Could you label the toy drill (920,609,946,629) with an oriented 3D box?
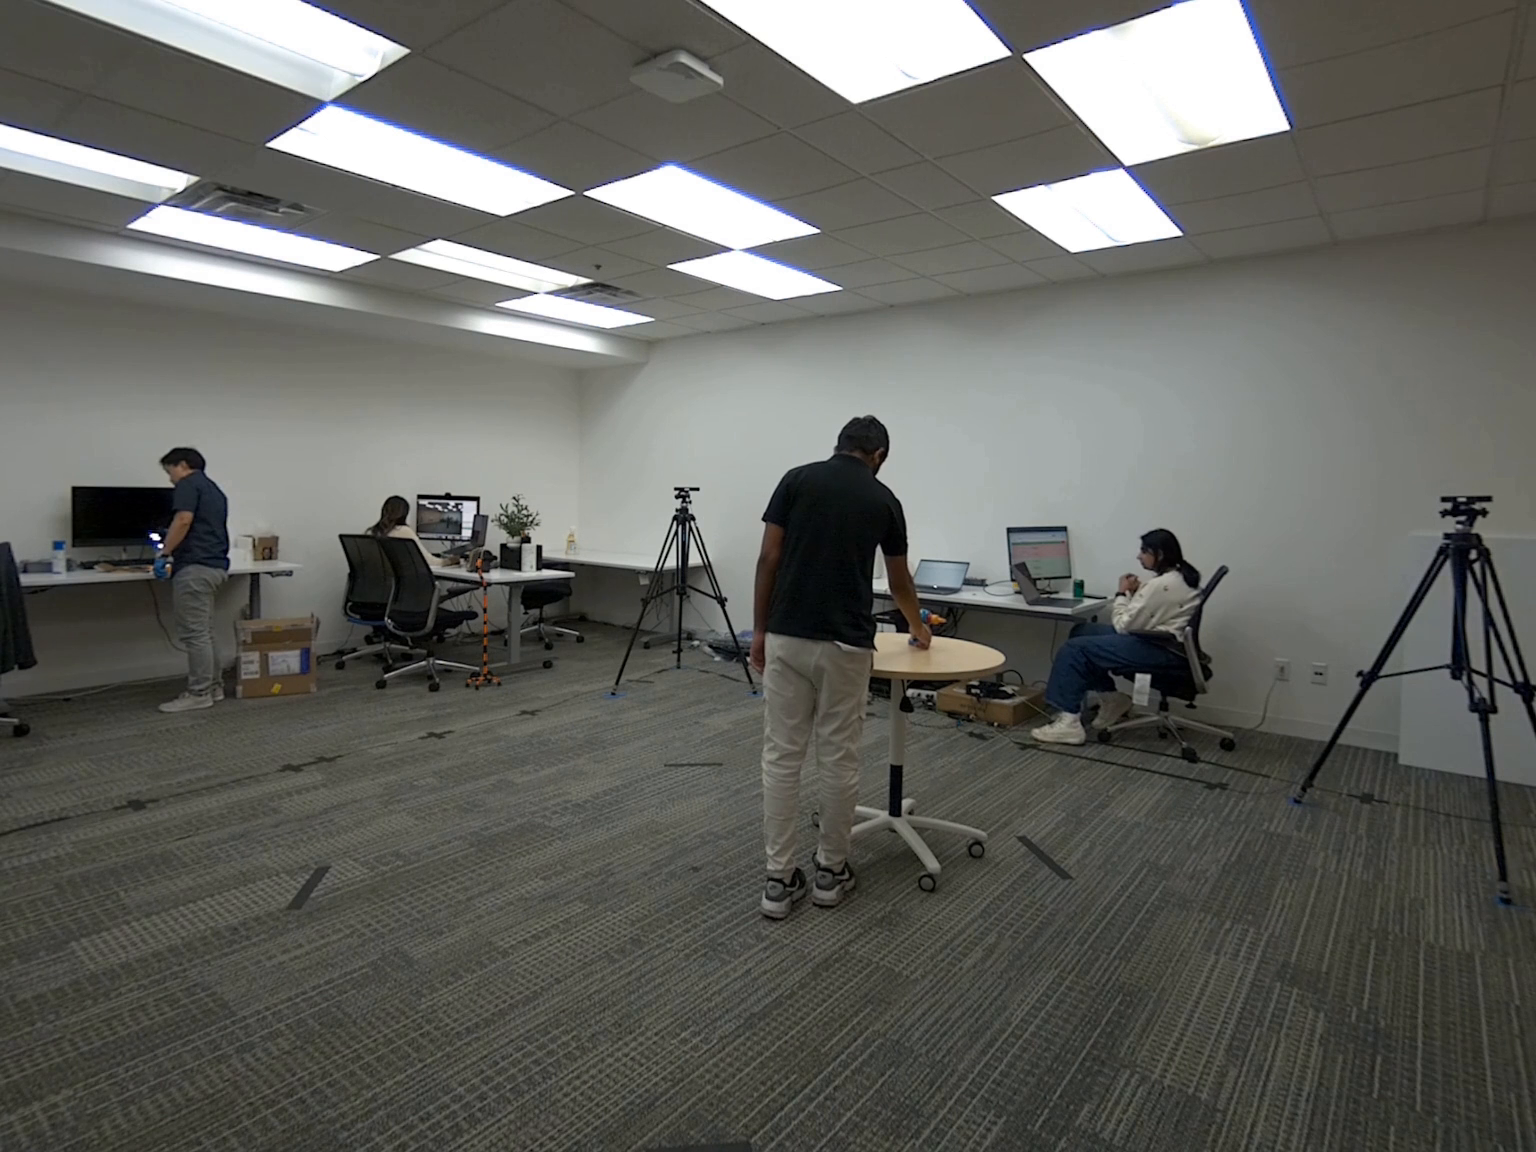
[{"bbox_3d":[0.611,0.201,3.336,0.059,0.145,0.176,-1,6,-42],"label":"toy drill"}]
